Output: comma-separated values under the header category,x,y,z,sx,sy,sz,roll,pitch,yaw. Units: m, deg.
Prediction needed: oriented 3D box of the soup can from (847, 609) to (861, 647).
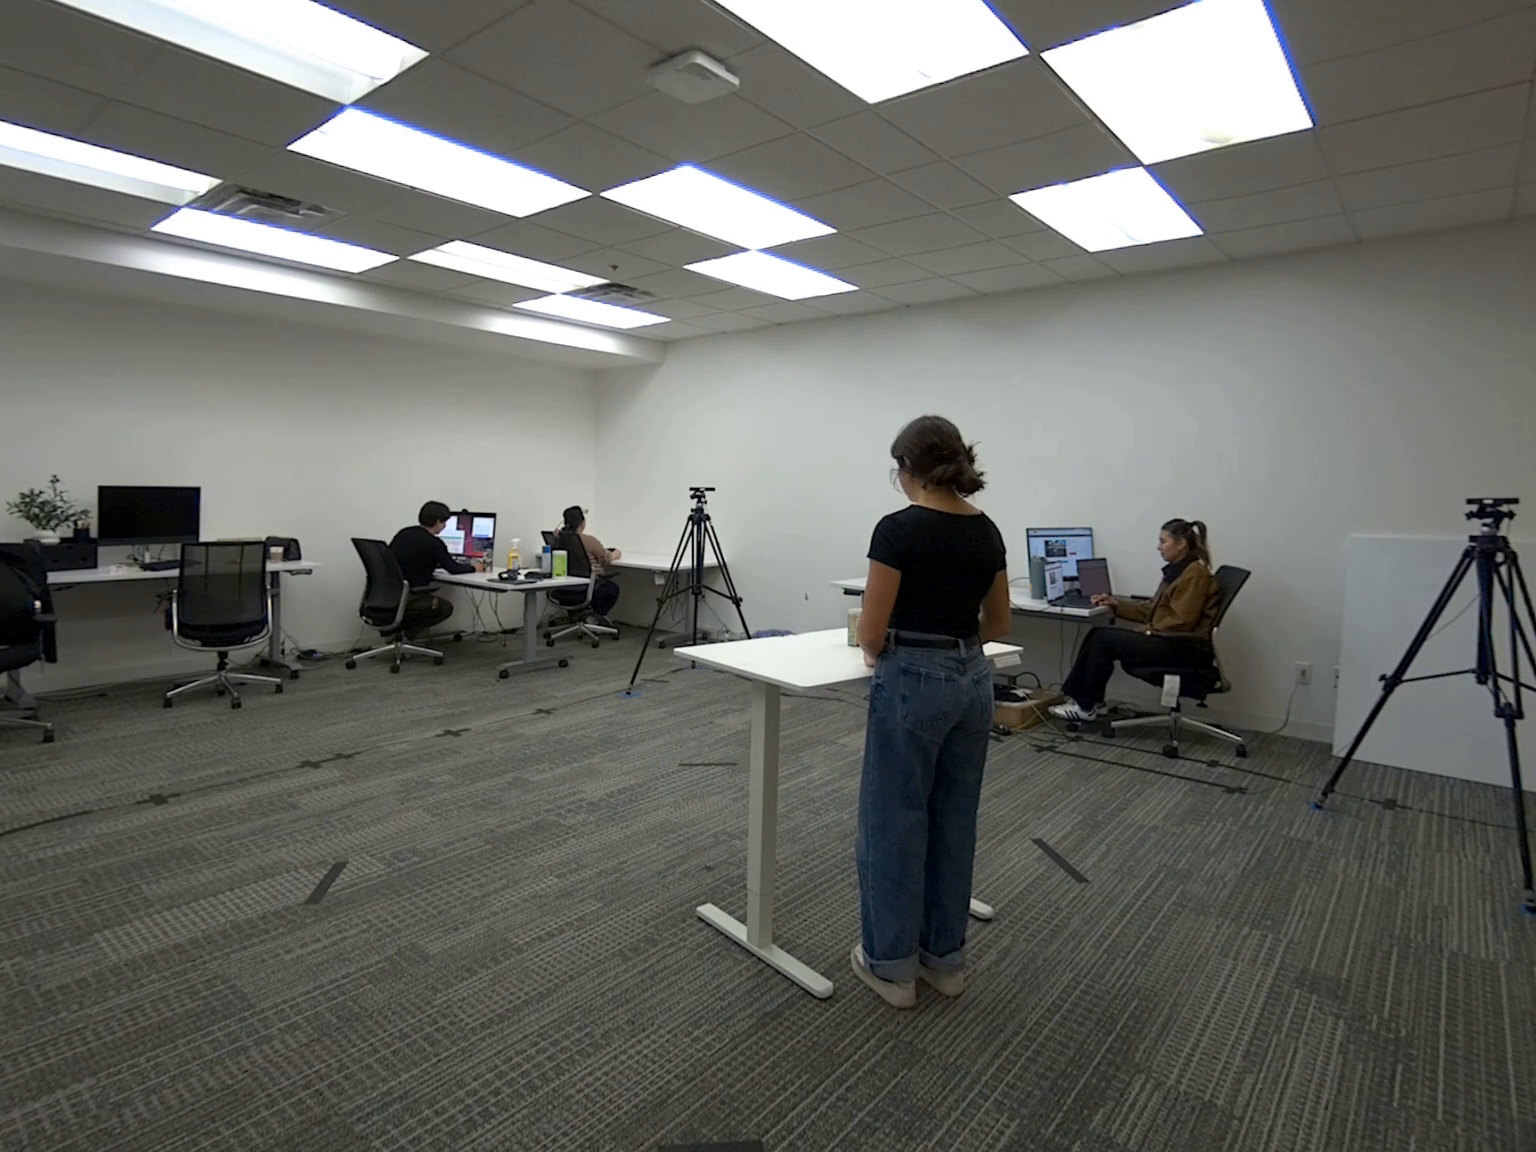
category,x,y,z,sx,sy,sz,roll,pitch,yaw
soup can,0.291,0.168,2.795,0.067,0.121,0.067,2,2,-2
